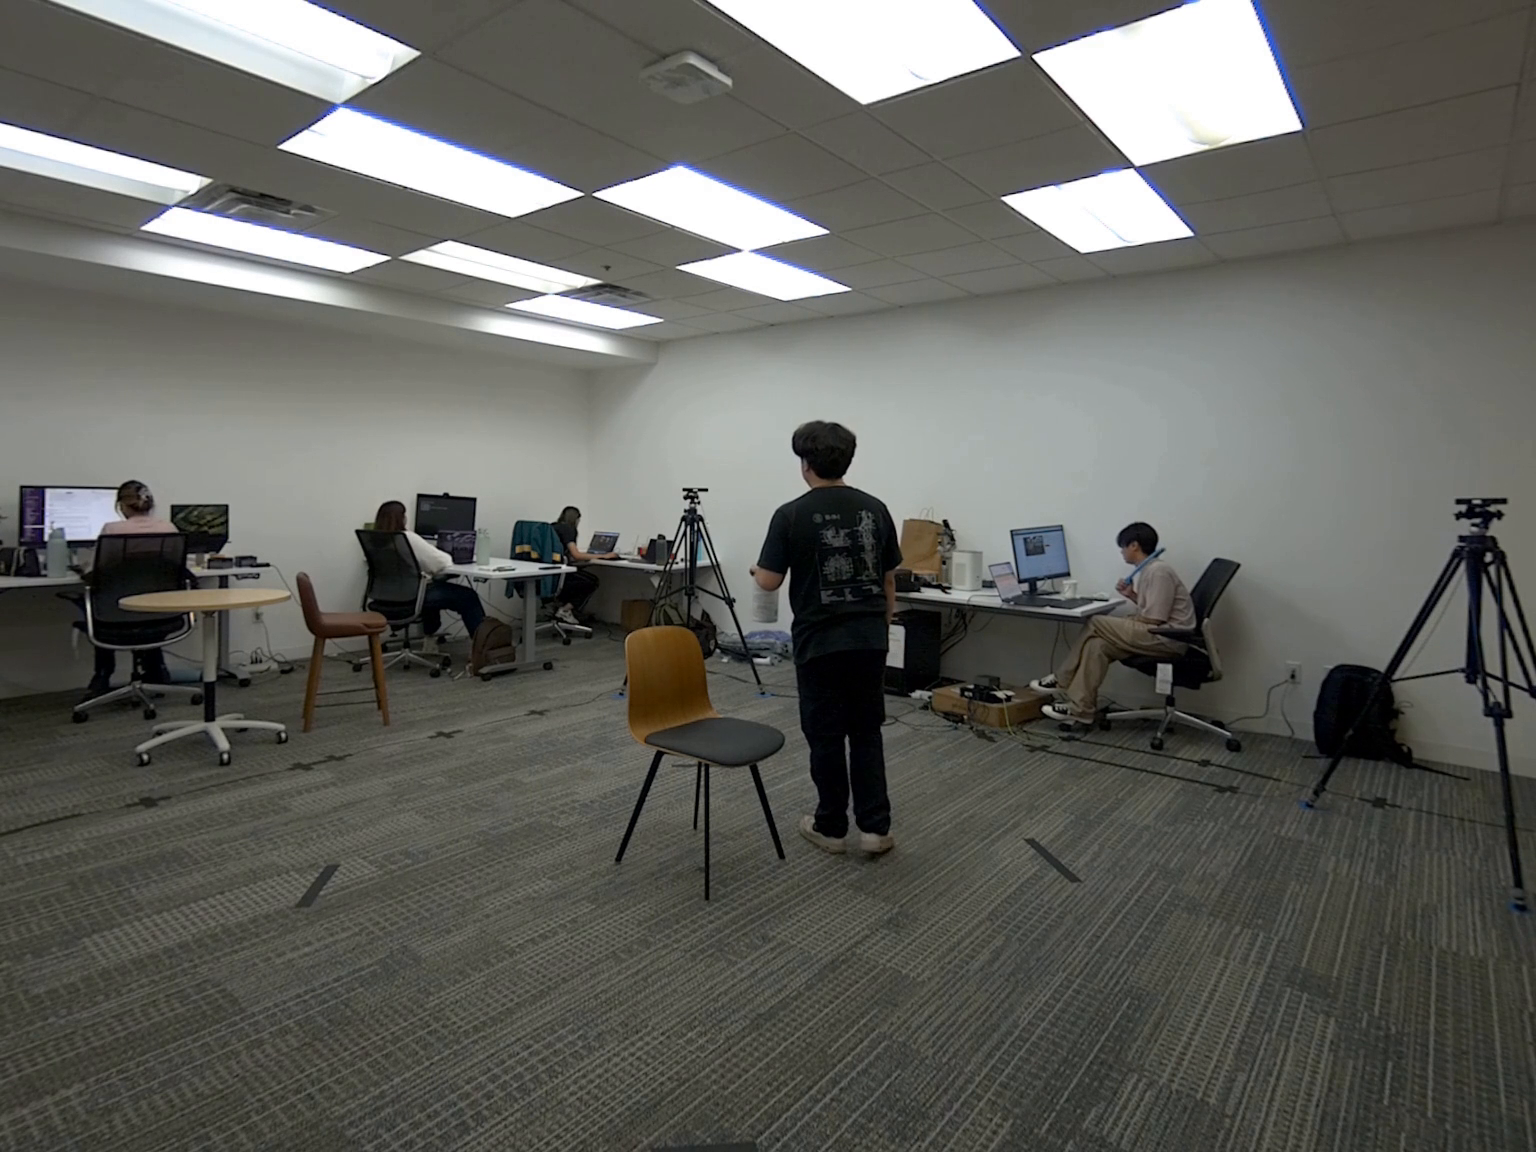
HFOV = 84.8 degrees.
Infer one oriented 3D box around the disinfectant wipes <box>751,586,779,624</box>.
[{"bbox_3d":[-0.016,0.083,3.585,0.117,0.216,0.118,2,5,-2],"label":"disinfectant wipes"}]
